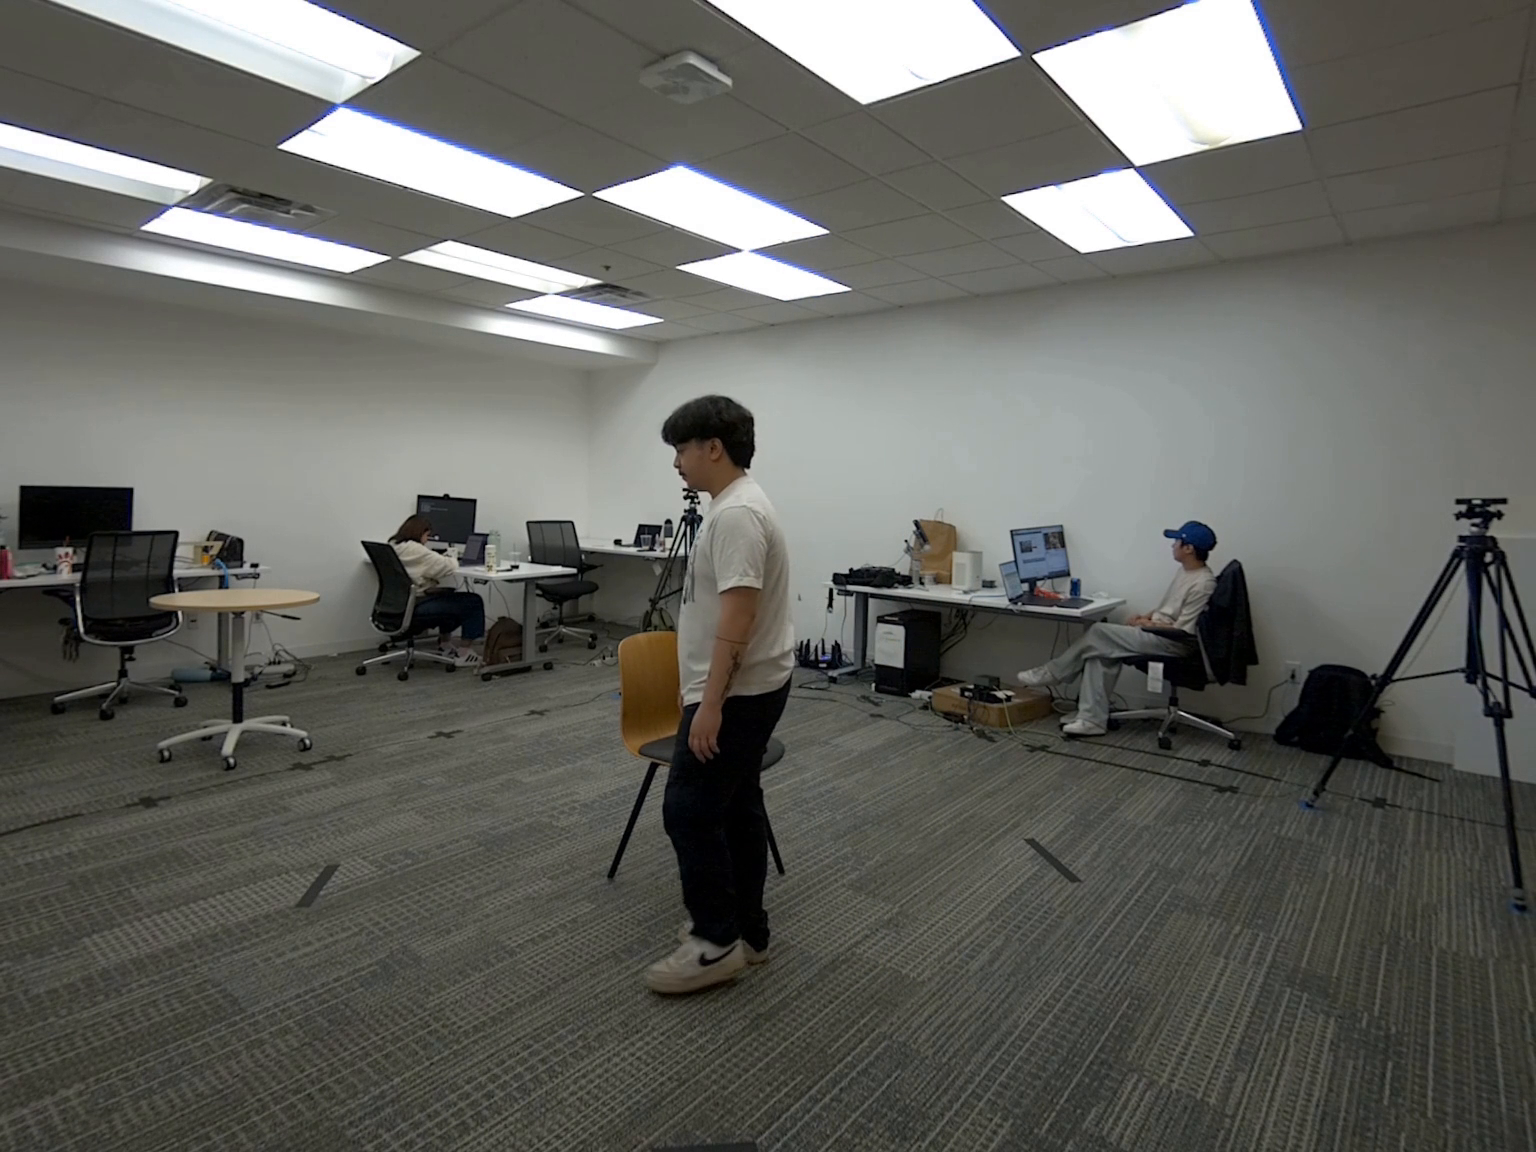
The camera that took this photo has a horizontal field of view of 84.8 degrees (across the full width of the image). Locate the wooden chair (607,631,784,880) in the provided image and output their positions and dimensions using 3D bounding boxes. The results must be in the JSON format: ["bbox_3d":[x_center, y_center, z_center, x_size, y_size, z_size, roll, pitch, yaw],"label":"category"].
[{"bbox_3d":[-0.248,0.648,3.019,0.539,0.877,0.464,-2,1,37],"label":"wooden chair"}]
